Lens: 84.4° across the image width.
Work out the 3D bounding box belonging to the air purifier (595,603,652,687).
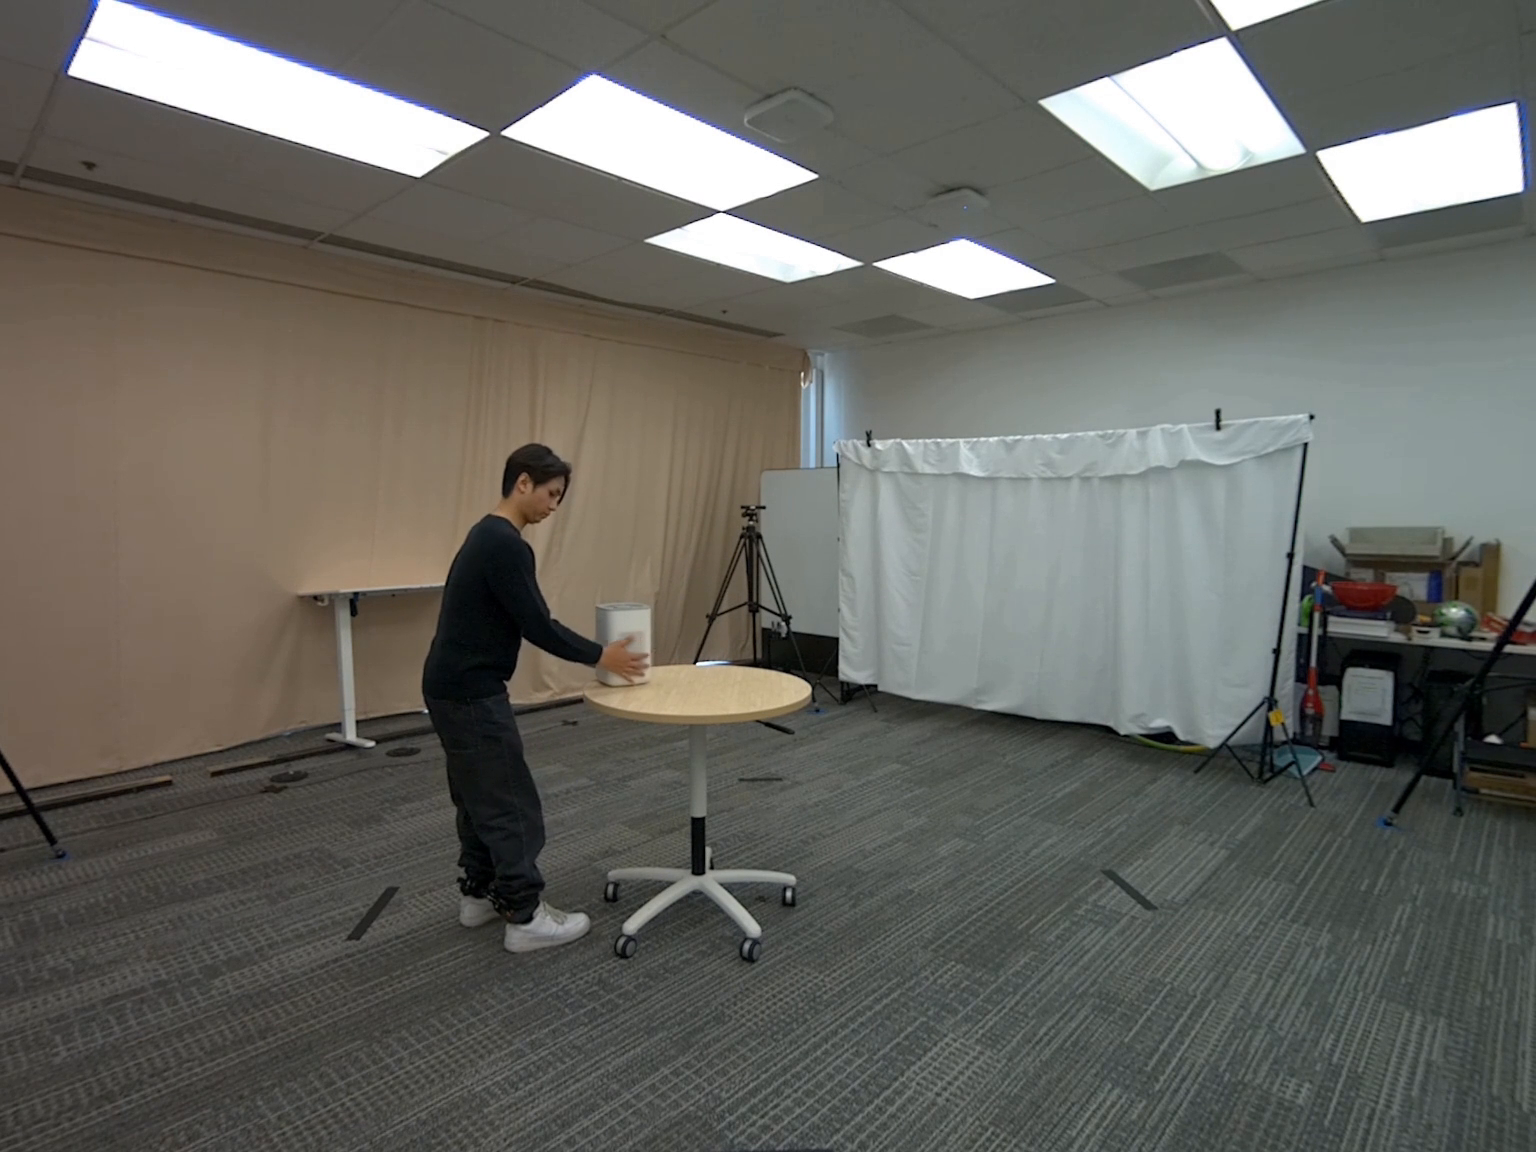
[{"bbox_3d":[-0.499,0.235,2.899,0.167,0.264,0.176,-3,5,-30],"label":"air purifier"}]
